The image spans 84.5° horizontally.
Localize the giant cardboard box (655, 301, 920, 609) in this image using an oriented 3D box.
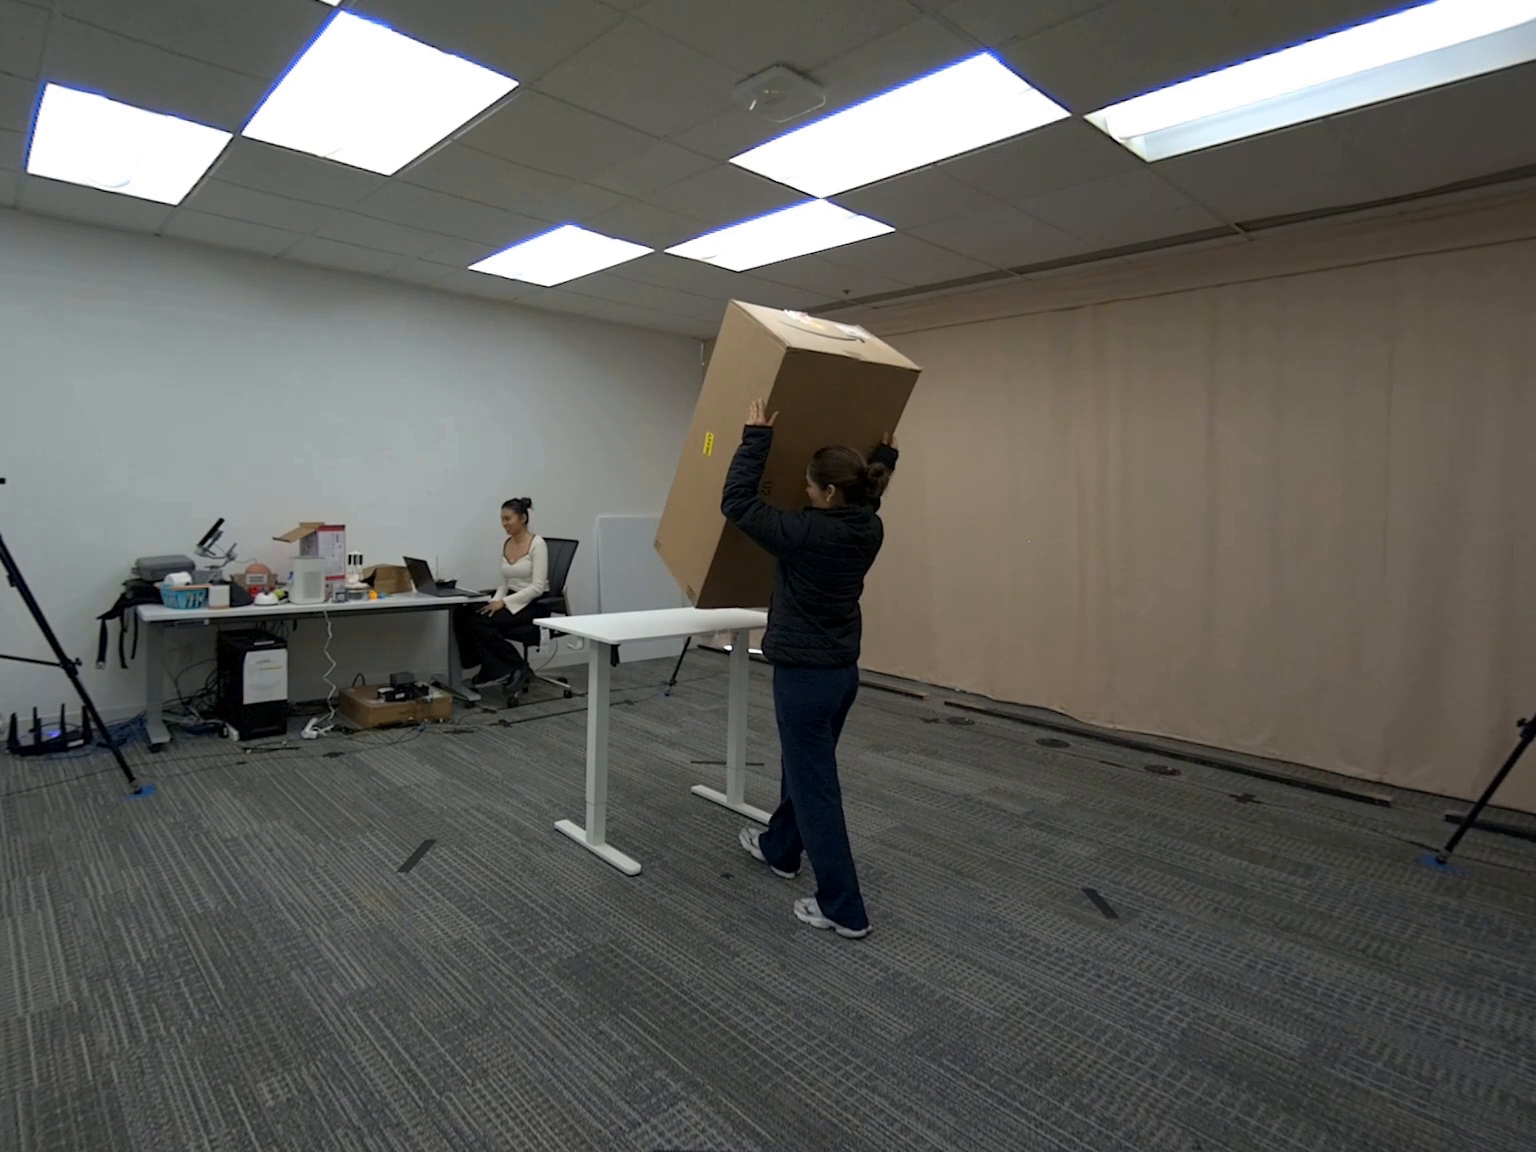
[{"bbox_3d":[0.033,-0.412,3.112,0.571,1.017,0.461,2,32,-33],"label":"giant cardboard box"}]
